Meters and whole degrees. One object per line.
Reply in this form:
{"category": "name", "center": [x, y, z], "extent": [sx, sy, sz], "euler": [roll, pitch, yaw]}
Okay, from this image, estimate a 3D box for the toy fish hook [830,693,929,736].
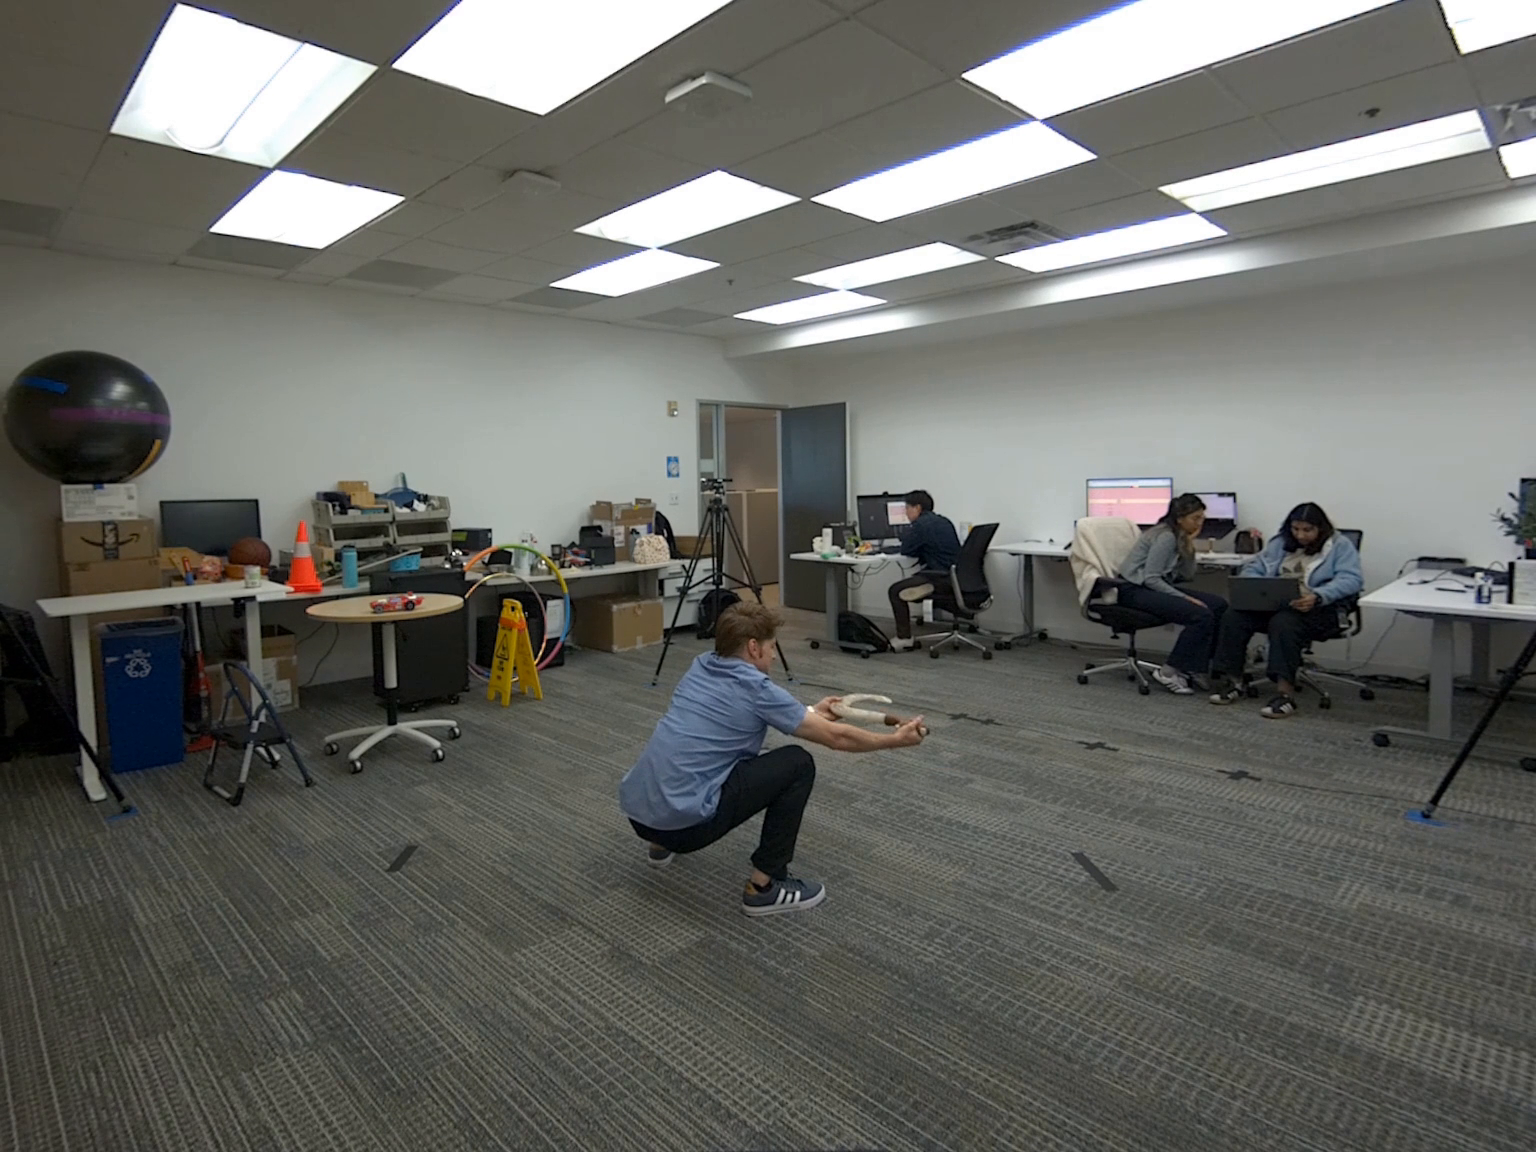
{"category": "toy fish hook", "center": [0.441, 0.509, 3.217], "extent": [0.221, 0.048, 0.522], "euler": [-20, 15, -33]}
